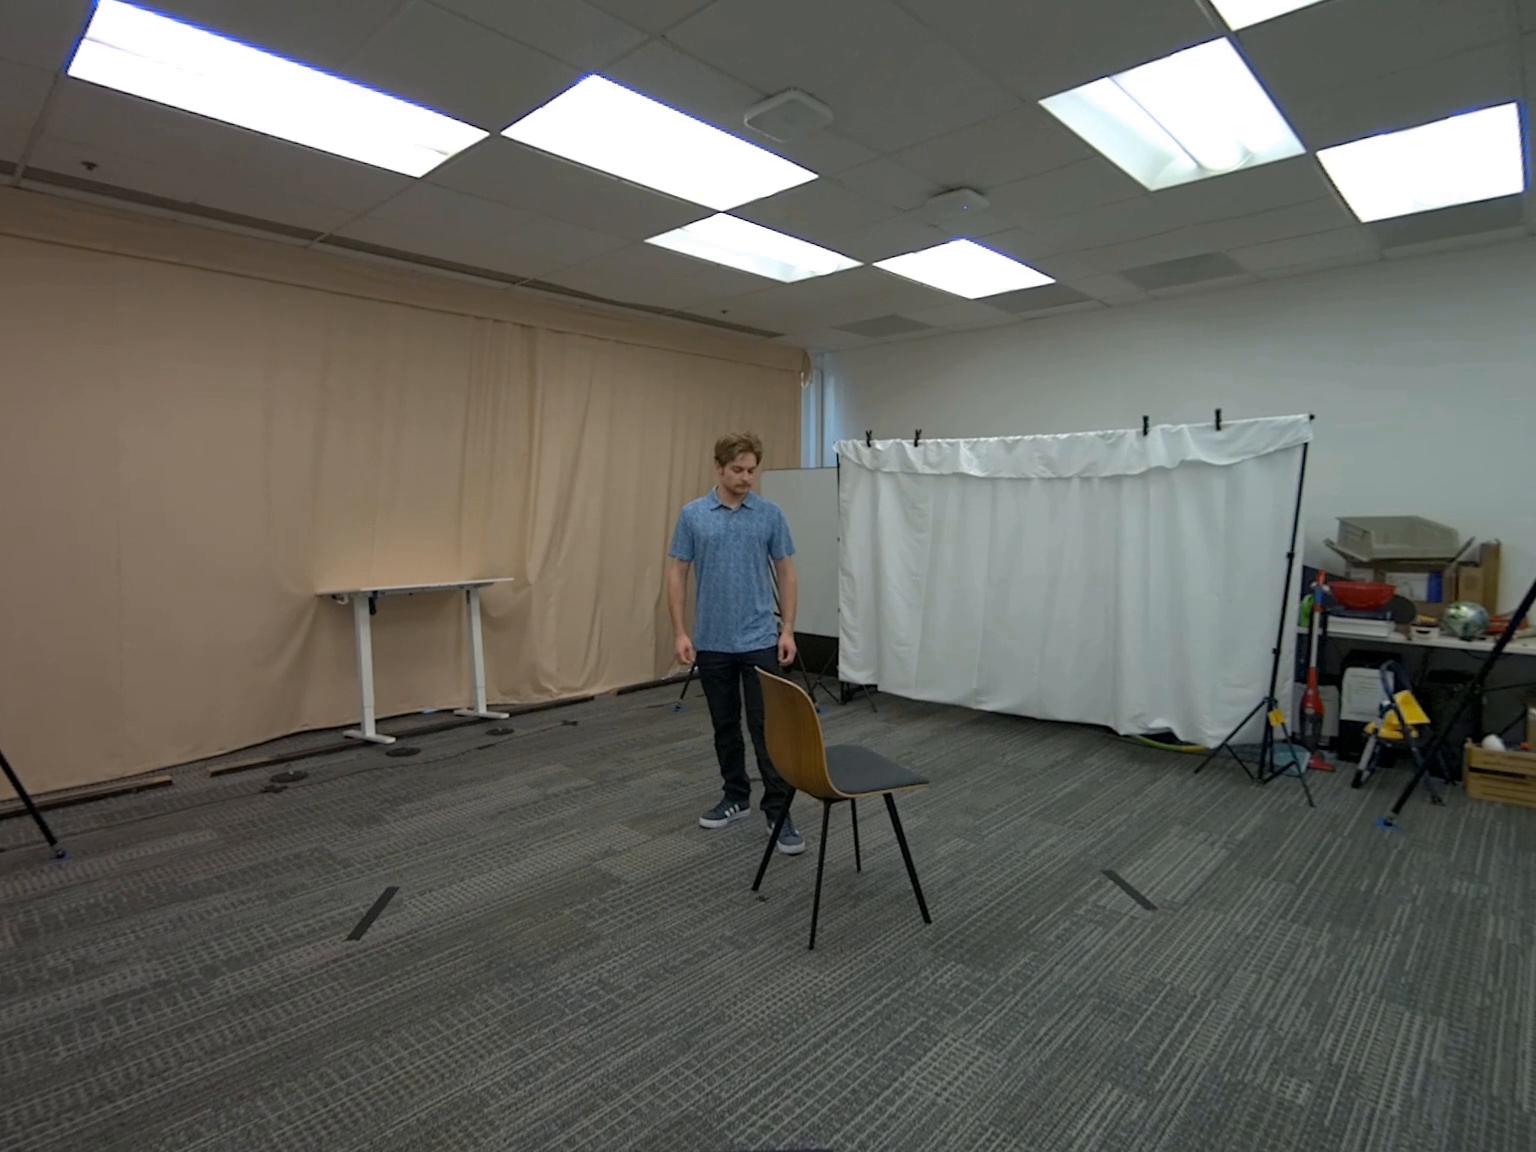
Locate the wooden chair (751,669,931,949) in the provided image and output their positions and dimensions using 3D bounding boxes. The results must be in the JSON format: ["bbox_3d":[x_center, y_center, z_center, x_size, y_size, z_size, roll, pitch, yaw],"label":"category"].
[{"bbox_3d":[0.255,0.725,2.899,0.512,0.874,0.490,-6,5,-23],"label":"wooden chair"}]
